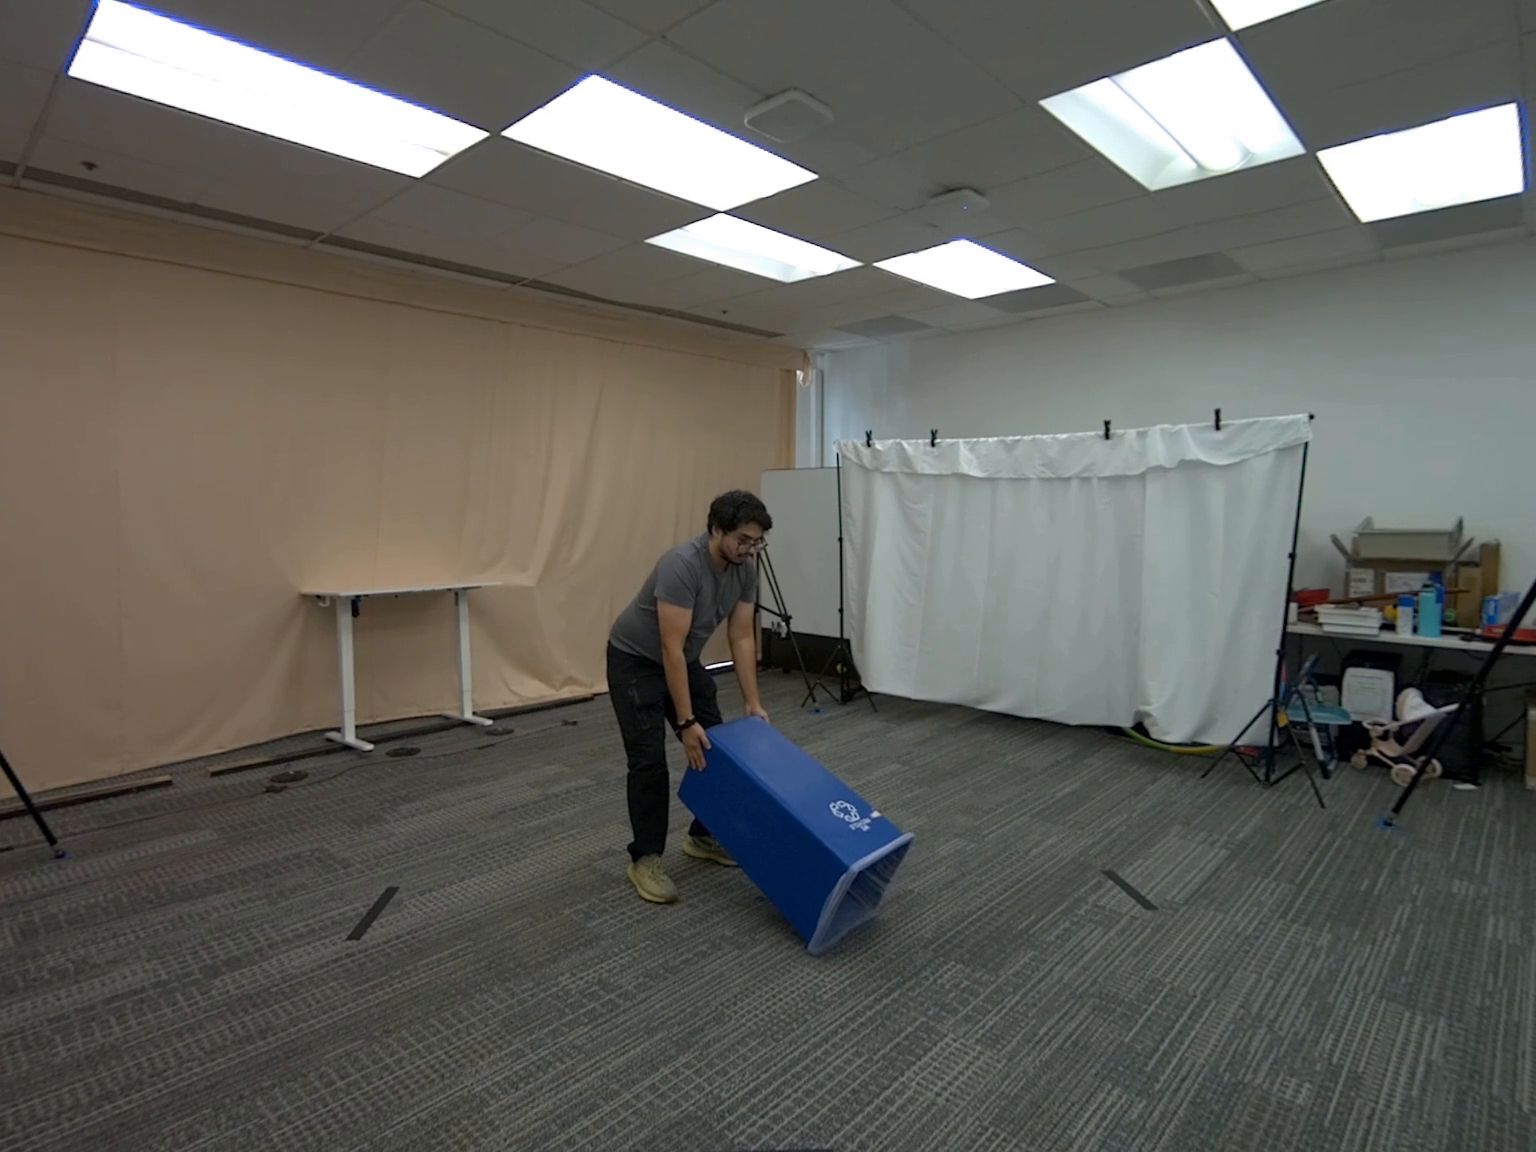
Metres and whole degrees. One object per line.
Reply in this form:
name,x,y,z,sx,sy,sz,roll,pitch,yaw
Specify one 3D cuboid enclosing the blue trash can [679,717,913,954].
blue trash can,0.064,0.834,2.860,0.738,0.376,0.363,36,26,33
